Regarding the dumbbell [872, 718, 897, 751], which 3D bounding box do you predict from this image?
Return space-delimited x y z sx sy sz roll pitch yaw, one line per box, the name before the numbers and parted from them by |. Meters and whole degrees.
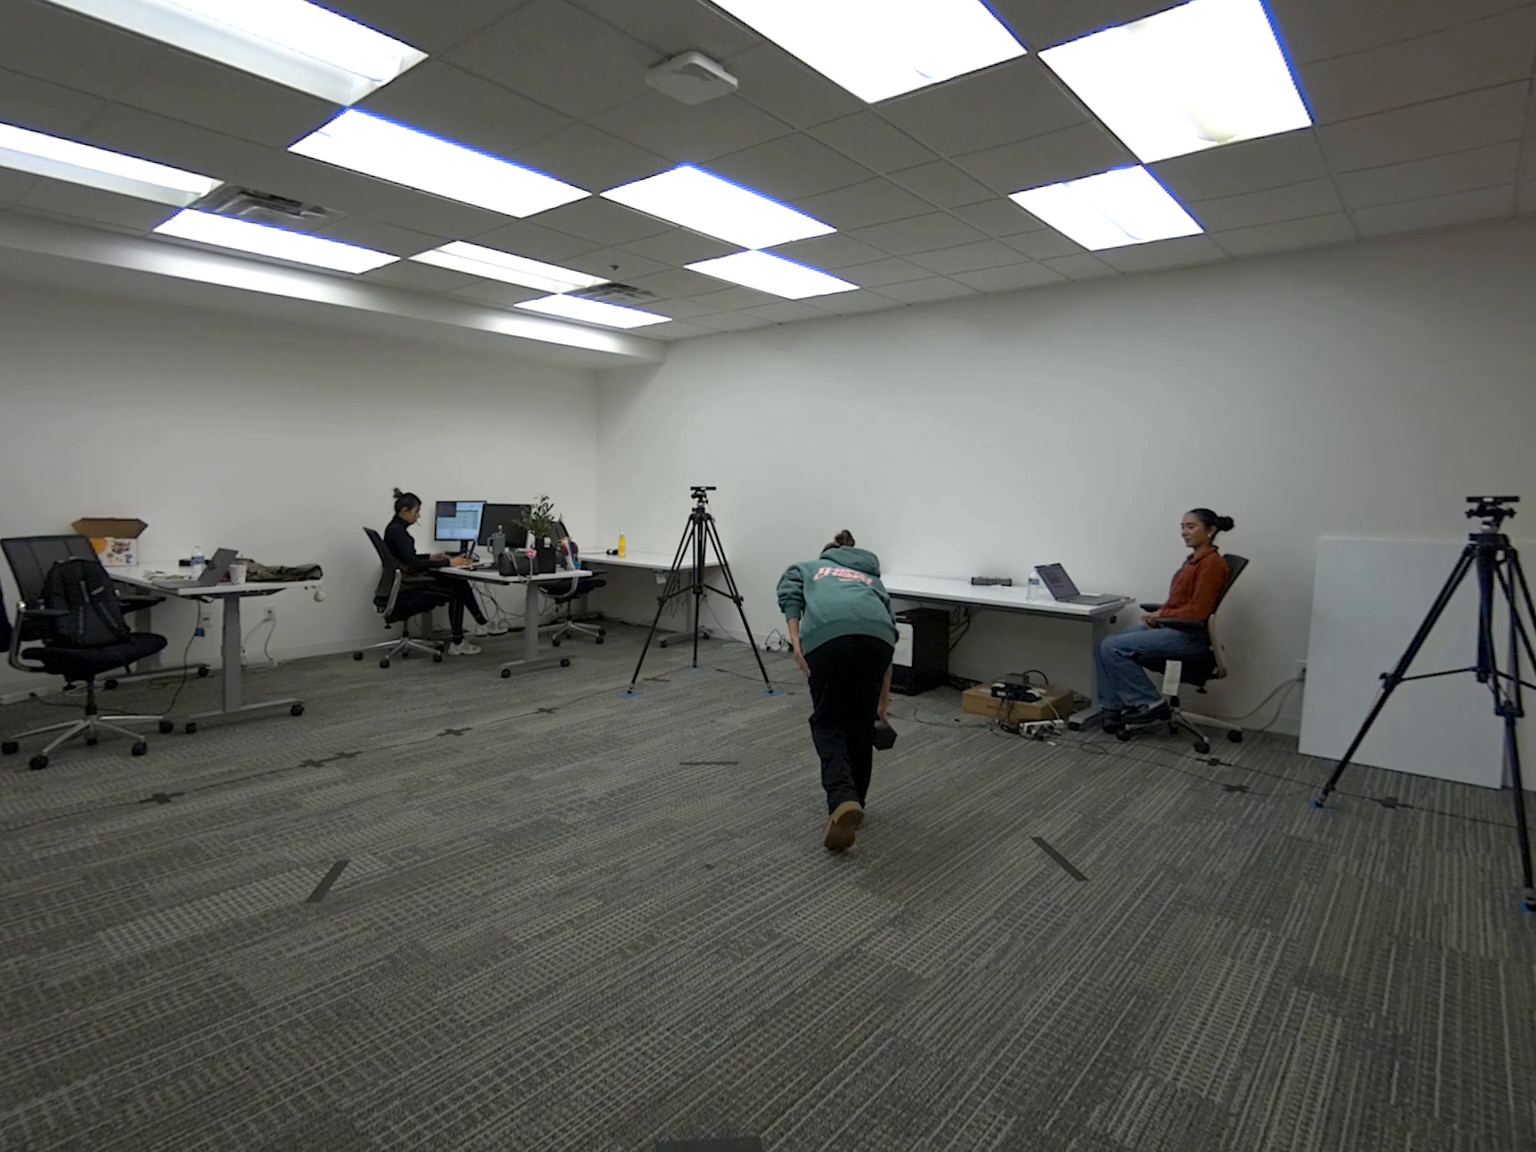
dumbbell | 0.453 0.651 3.694 0.107 0.123 0.298 20 5 -12
